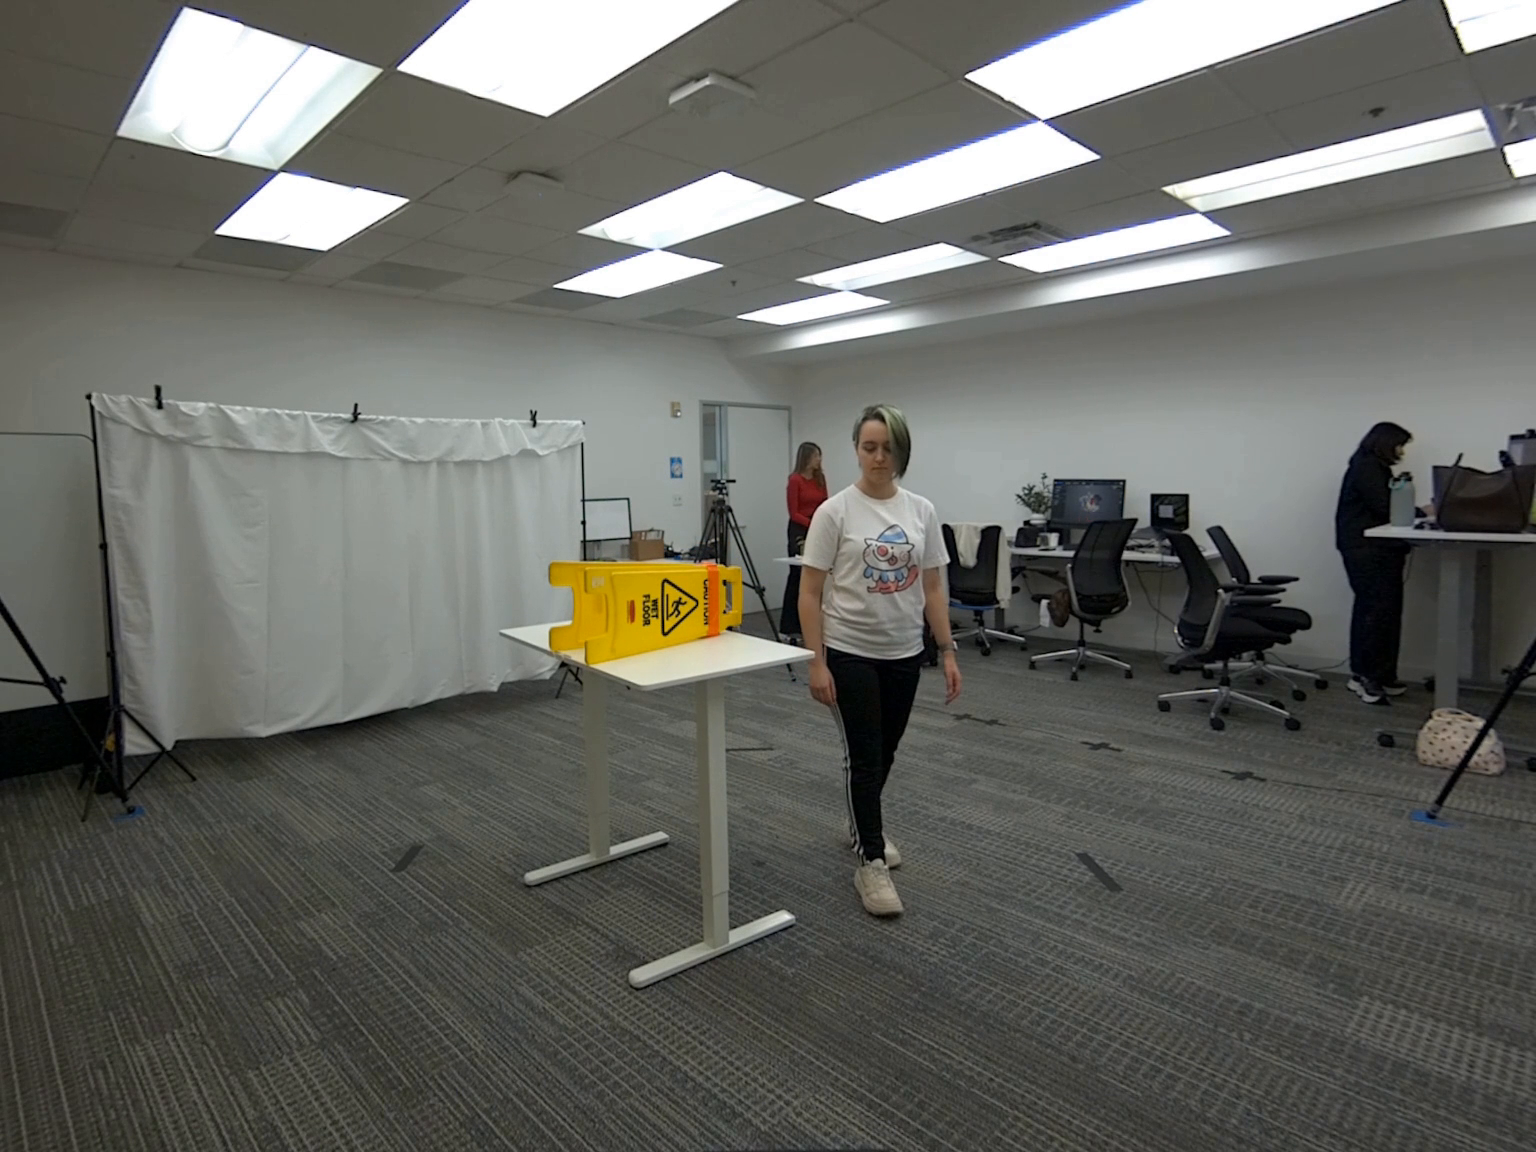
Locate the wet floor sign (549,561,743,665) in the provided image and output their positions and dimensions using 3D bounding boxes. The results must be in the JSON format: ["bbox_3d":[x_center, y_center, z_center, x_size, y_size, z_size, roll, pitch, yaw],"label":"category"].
[{"bbox_3d":[-0.343,0.088,2.724,0.629,0.281,0.298,-4,6,-38],"label":"wet floor sign"}]
